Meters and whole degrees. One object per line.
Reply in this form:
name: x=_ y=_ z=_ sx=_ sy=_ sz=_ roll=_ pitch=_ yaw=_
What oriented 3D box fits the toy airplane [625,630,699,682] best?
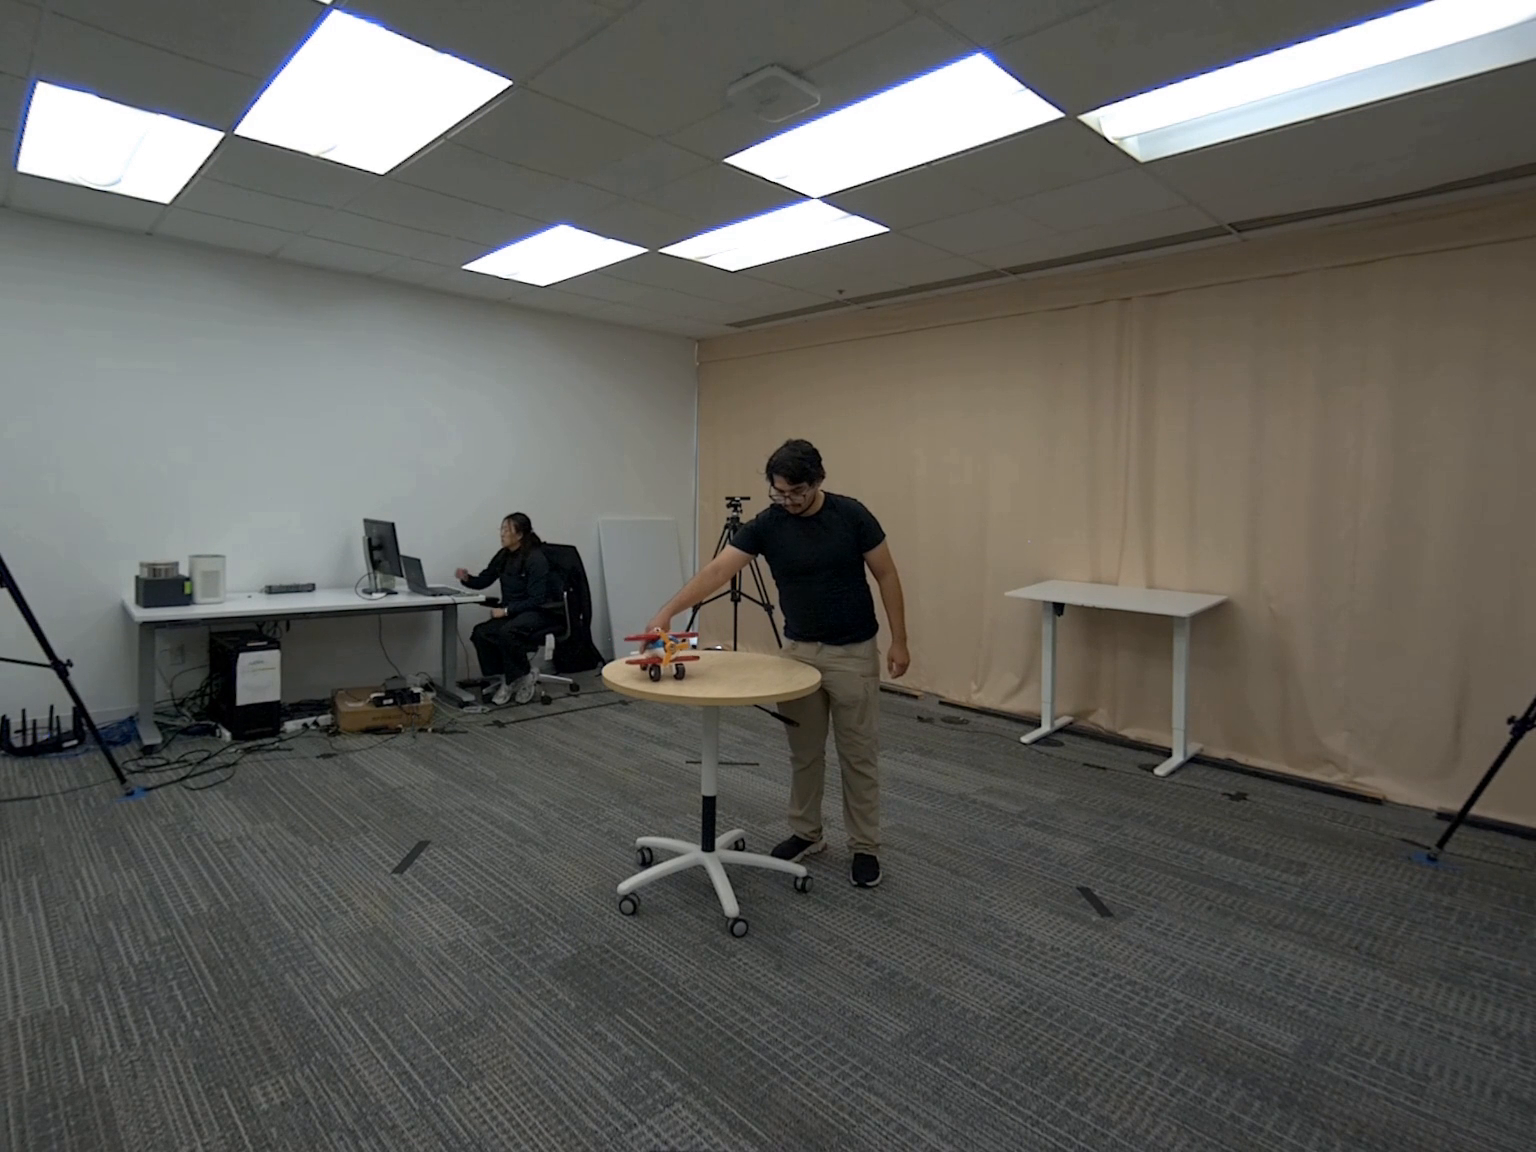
toy airplane: x=-0.391 y=0.264 z=2.851 sx=0.265 sy=0.156 sz=0.246 roll=6 pitch=6 yaw=35
